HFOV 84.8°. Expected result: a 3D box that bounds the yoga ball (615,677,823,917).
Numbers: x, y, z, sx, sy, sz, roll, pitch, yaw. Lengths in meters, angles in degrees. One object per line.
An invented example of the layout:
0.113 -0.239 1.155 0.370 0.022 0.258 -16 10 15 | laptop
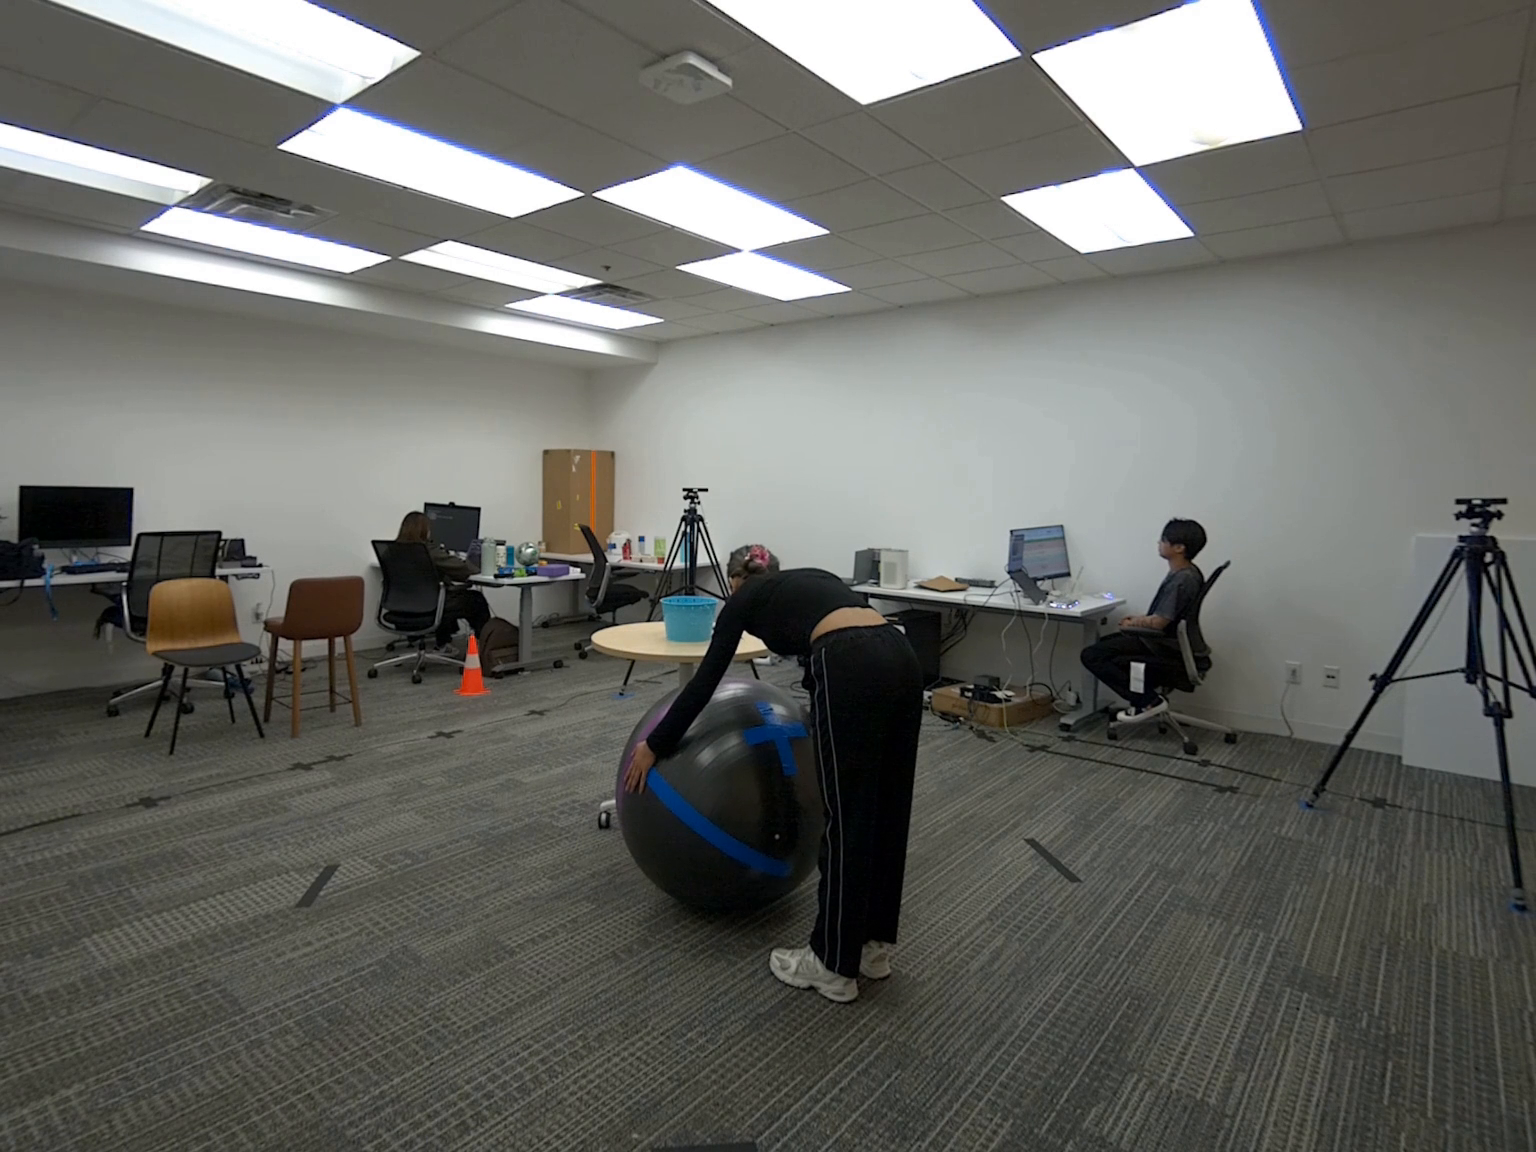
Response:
-0.141 0.728 2.868 0.757 0.756 0.762 1 4 -2 | yoga ball
